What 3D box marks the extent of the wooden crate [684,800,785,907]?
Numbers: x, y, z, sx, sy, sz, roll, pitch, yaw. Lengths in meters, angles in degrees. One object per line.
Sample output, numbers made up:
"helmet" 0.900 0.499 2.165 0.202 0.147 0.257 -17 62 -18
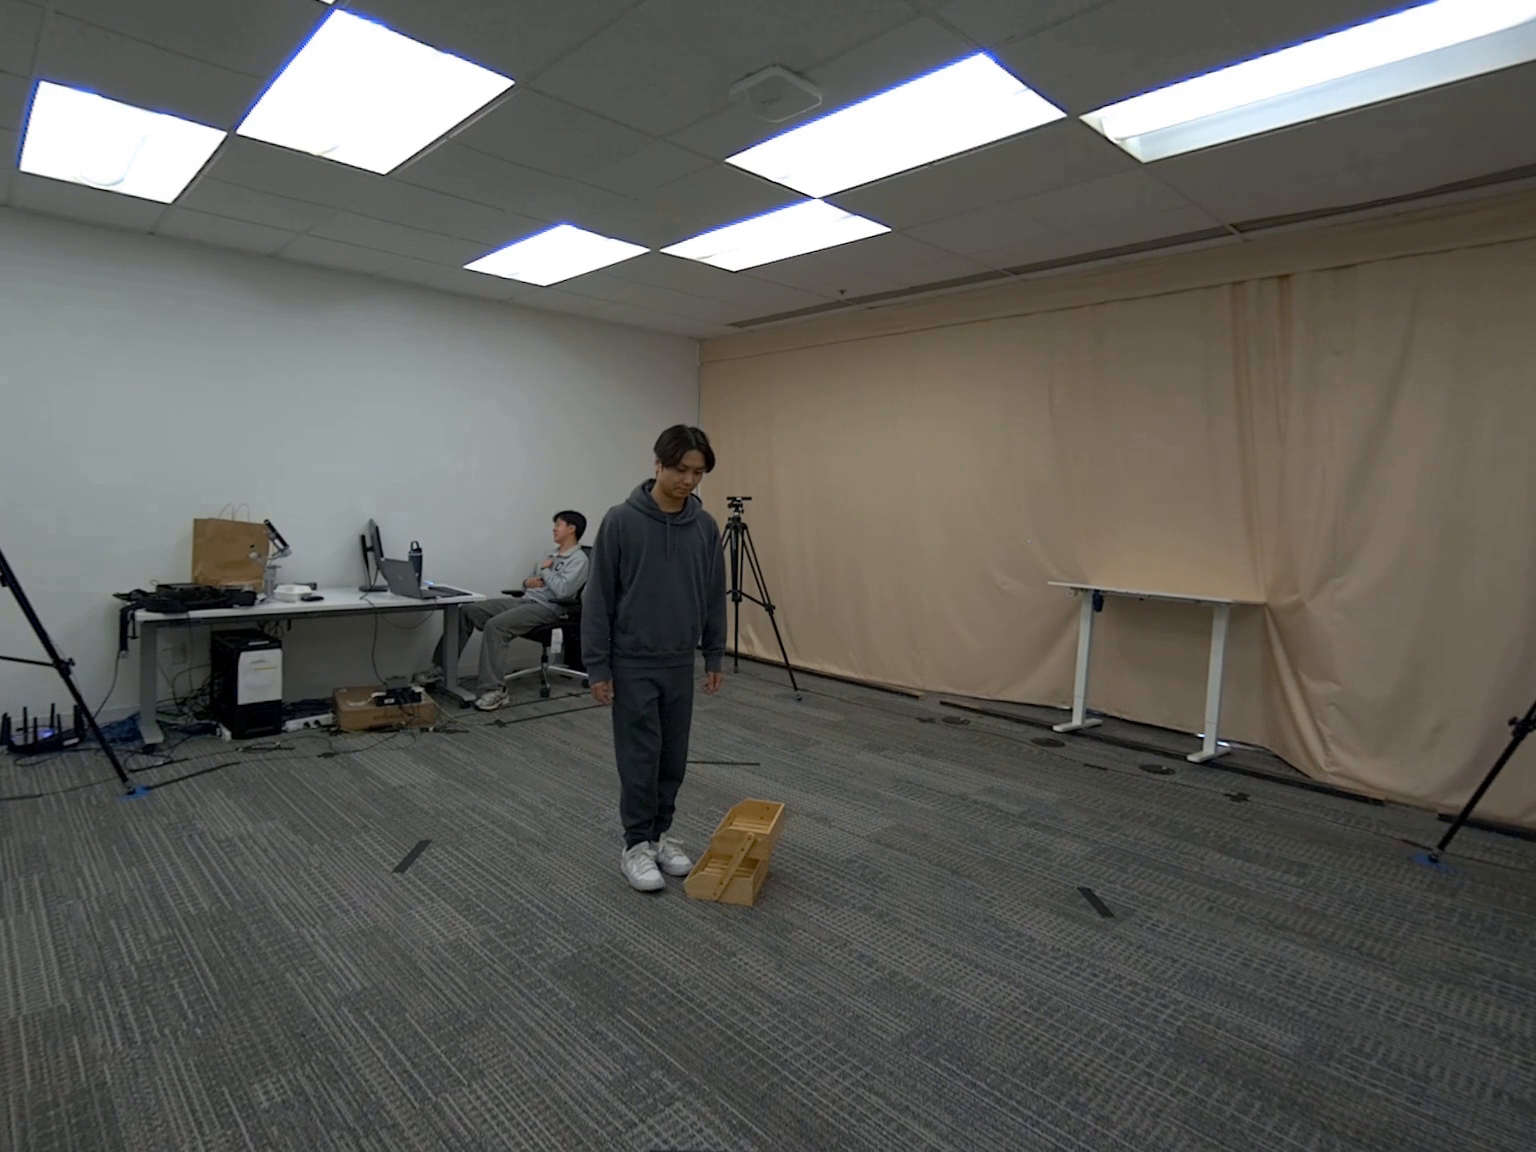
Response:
"wooden crate" -0.135 0.978 3.036 0.305 0.272 0.322 3 5 12
